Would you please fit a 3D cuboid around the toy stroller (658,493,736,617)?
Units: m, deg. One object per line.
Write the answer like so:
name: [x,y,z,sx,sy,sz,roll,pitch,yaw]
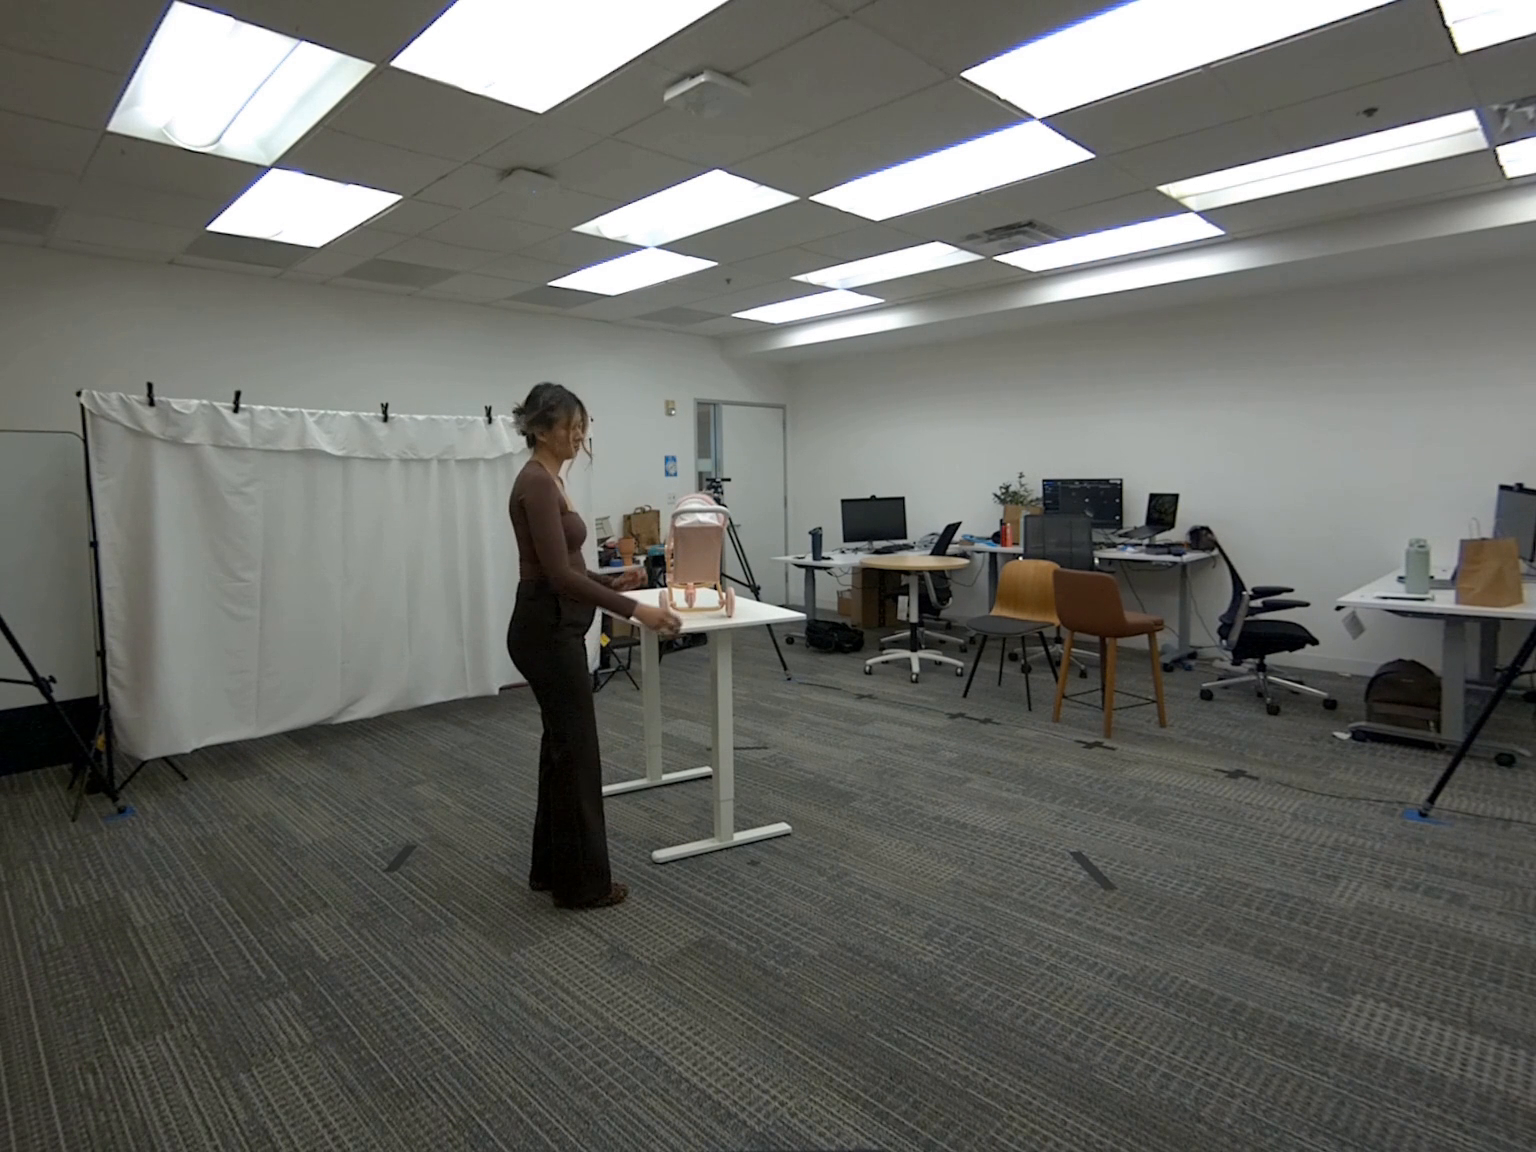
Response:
toy stroller: [-0.274,-0.070,3.233,0.280,0.525,0.350,0,22,-7]
